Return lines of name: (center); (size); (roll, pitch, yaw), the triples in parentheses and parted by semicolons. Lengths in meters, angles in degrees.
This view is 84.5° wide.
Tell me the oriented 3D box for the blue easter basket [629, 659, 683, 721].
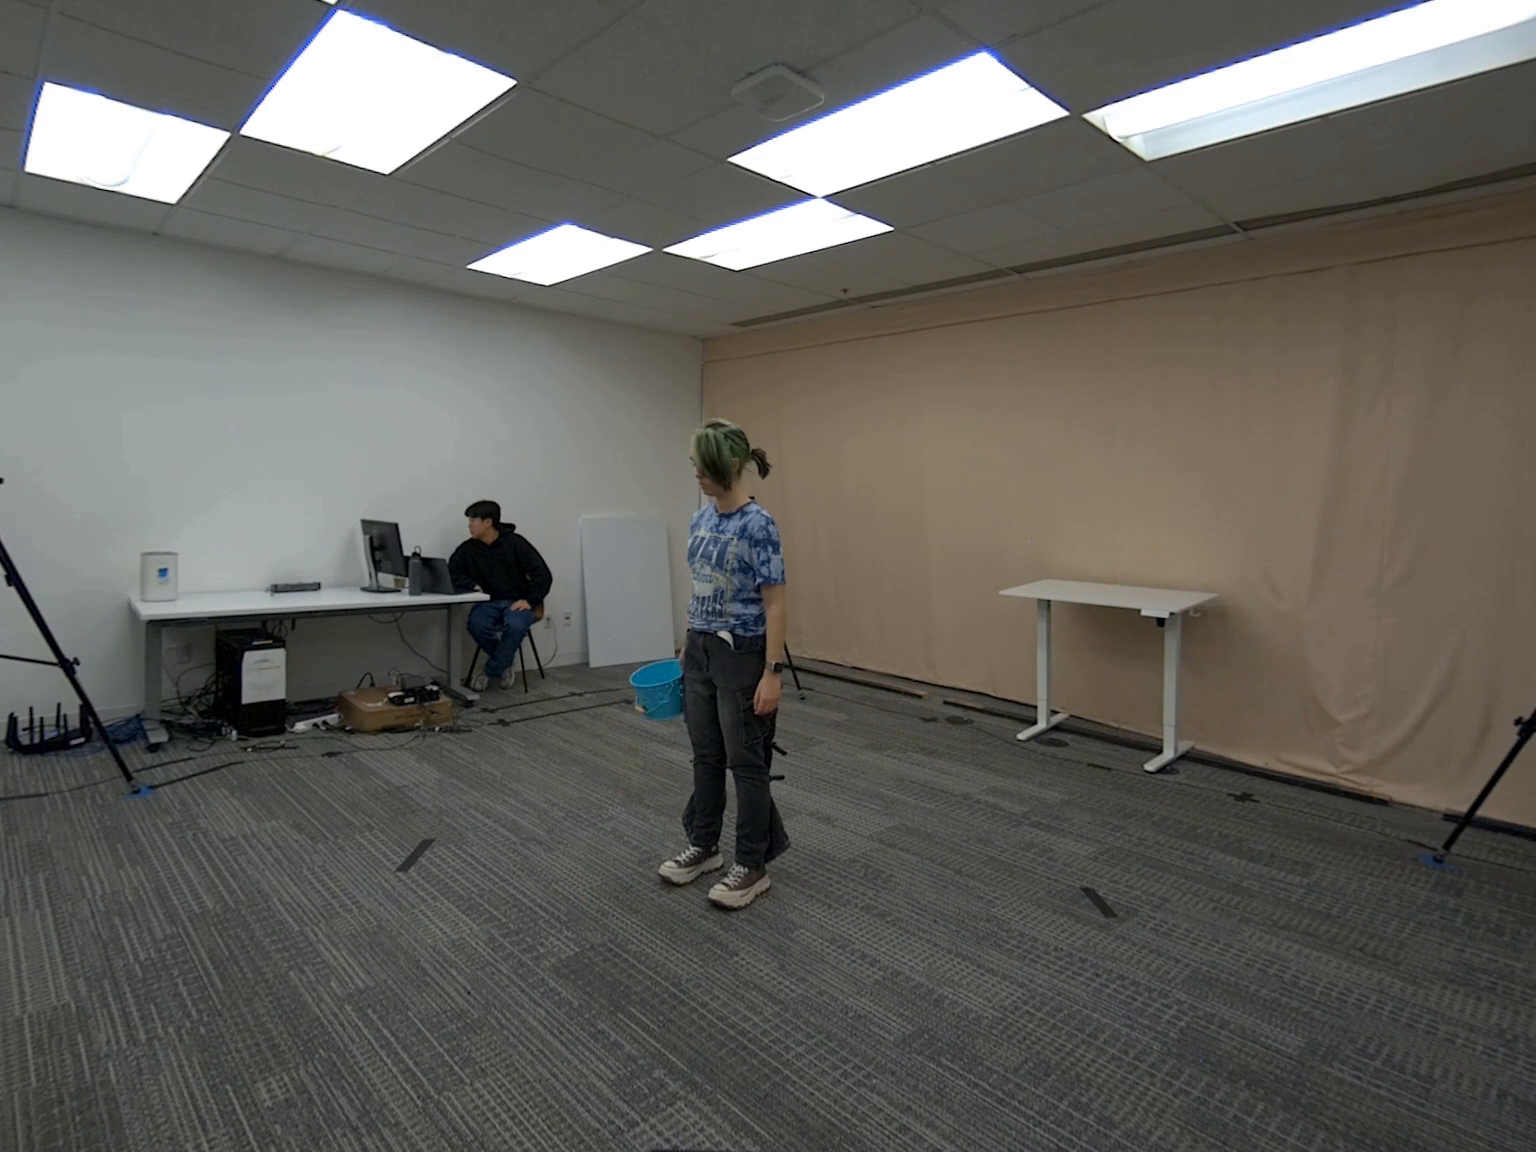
blue easter basket: (-0.403, 0.425, 3.187); (0.244, 0.154, 0.246); (-9, 14, 1)
